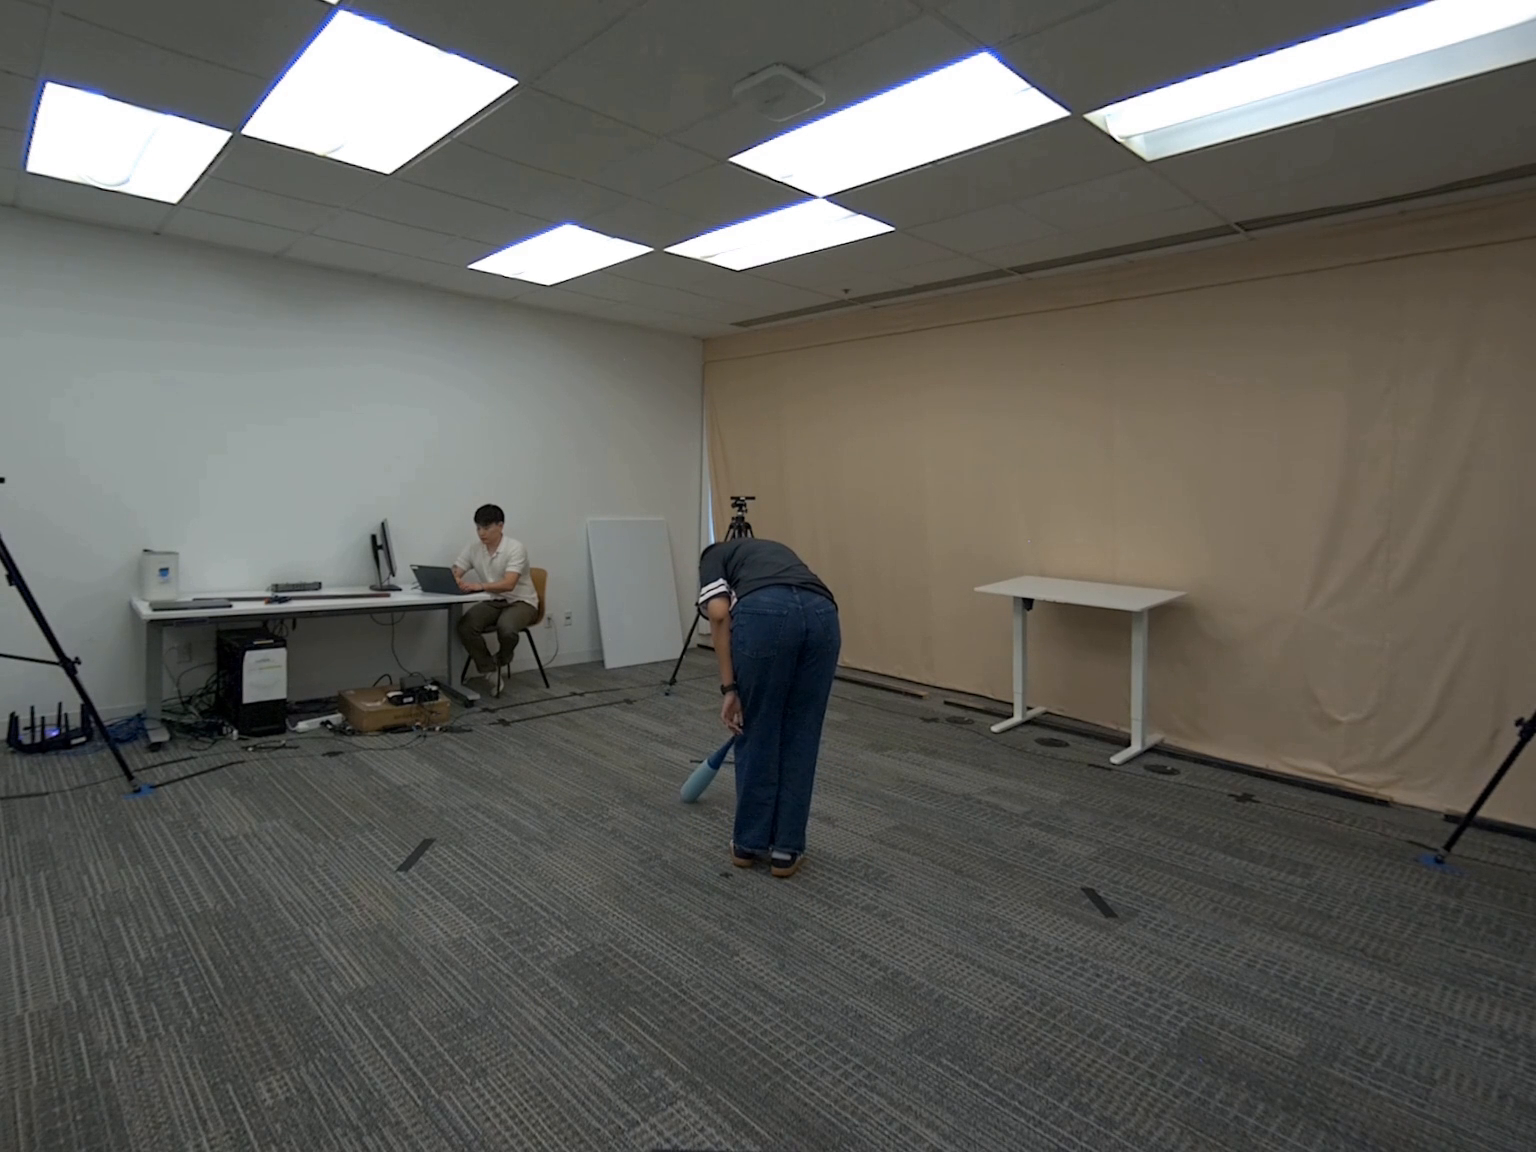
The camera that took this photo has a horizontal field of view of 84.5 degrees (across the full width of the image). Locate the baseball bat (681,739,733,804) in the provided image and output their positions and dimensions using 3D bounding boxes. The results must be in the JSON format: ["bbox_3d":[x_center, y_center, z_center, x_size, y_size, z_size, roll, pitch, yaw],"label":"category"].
[{"bbox_3d":[-0.238,0.825,3.740,0.087,0.540,0.091,24,34,-18],"label":"baseball bat"}]
